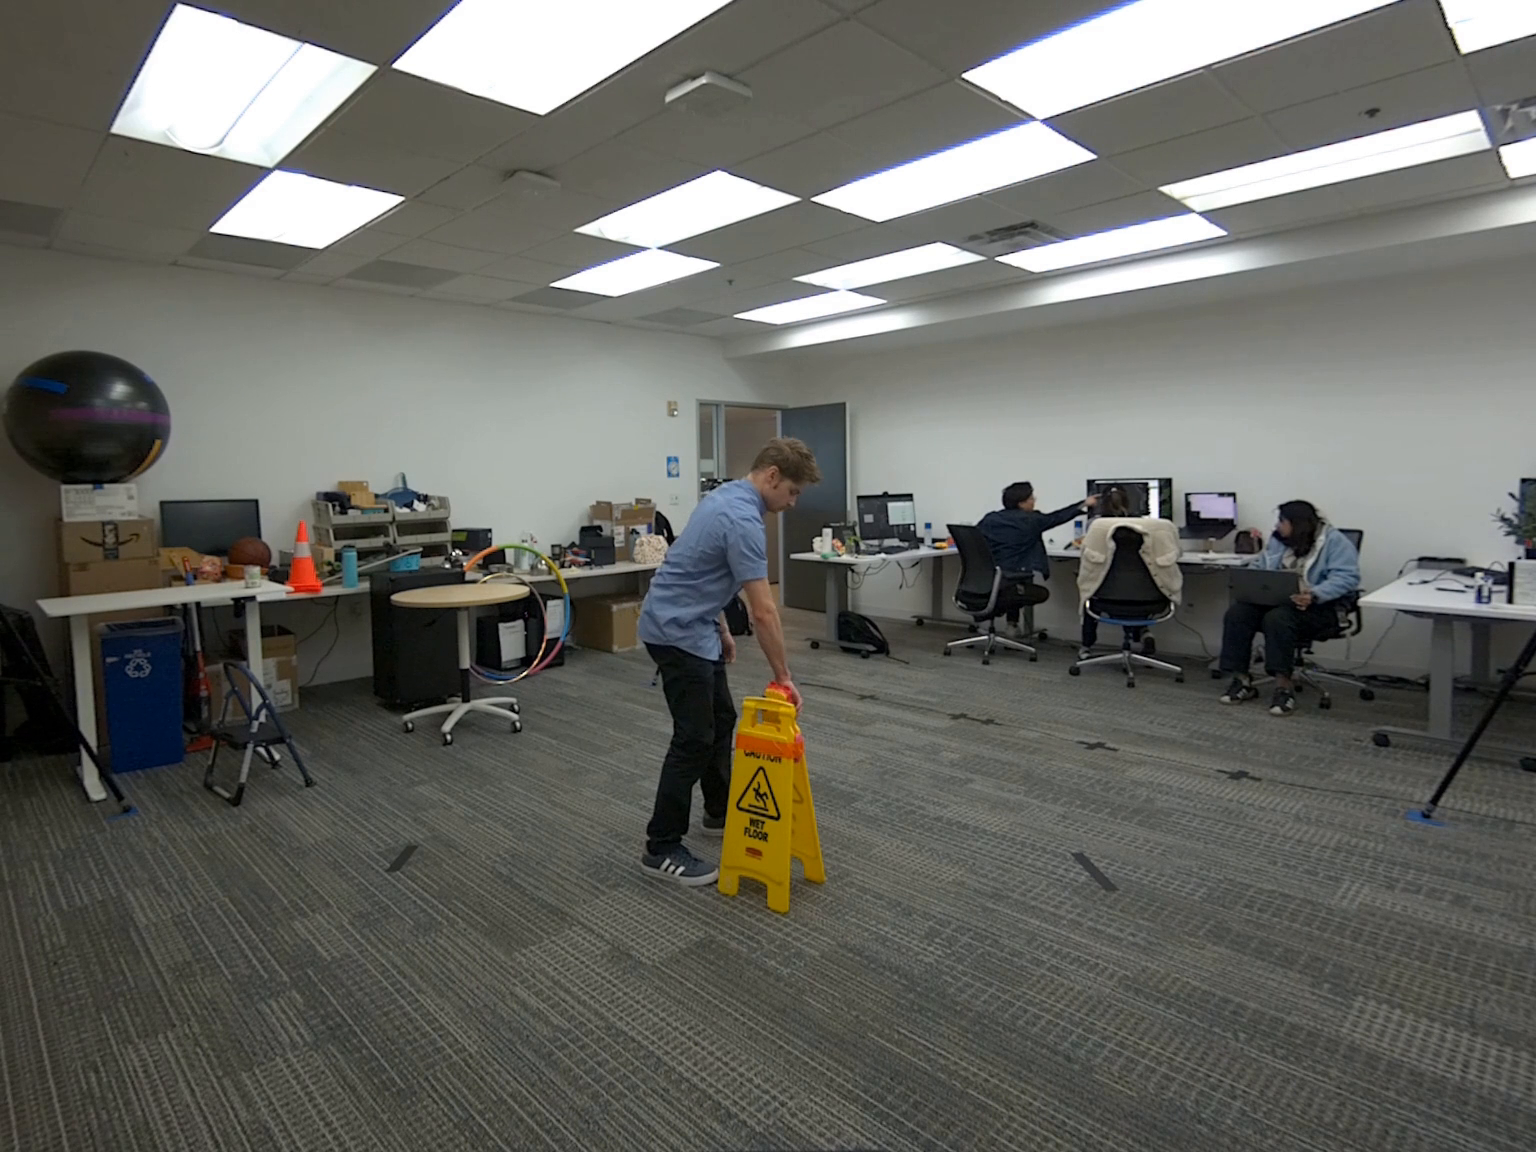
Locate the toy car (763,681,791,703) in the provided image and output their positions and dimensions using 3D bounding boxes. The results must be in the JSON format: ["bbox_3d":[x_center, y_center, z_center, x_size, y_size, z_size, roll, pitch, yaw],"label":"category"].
[{"bbox_3d":[0.001,0.496,2.944,0.134,0.251,0.082,12,17,27],"label":"toy car"}]
